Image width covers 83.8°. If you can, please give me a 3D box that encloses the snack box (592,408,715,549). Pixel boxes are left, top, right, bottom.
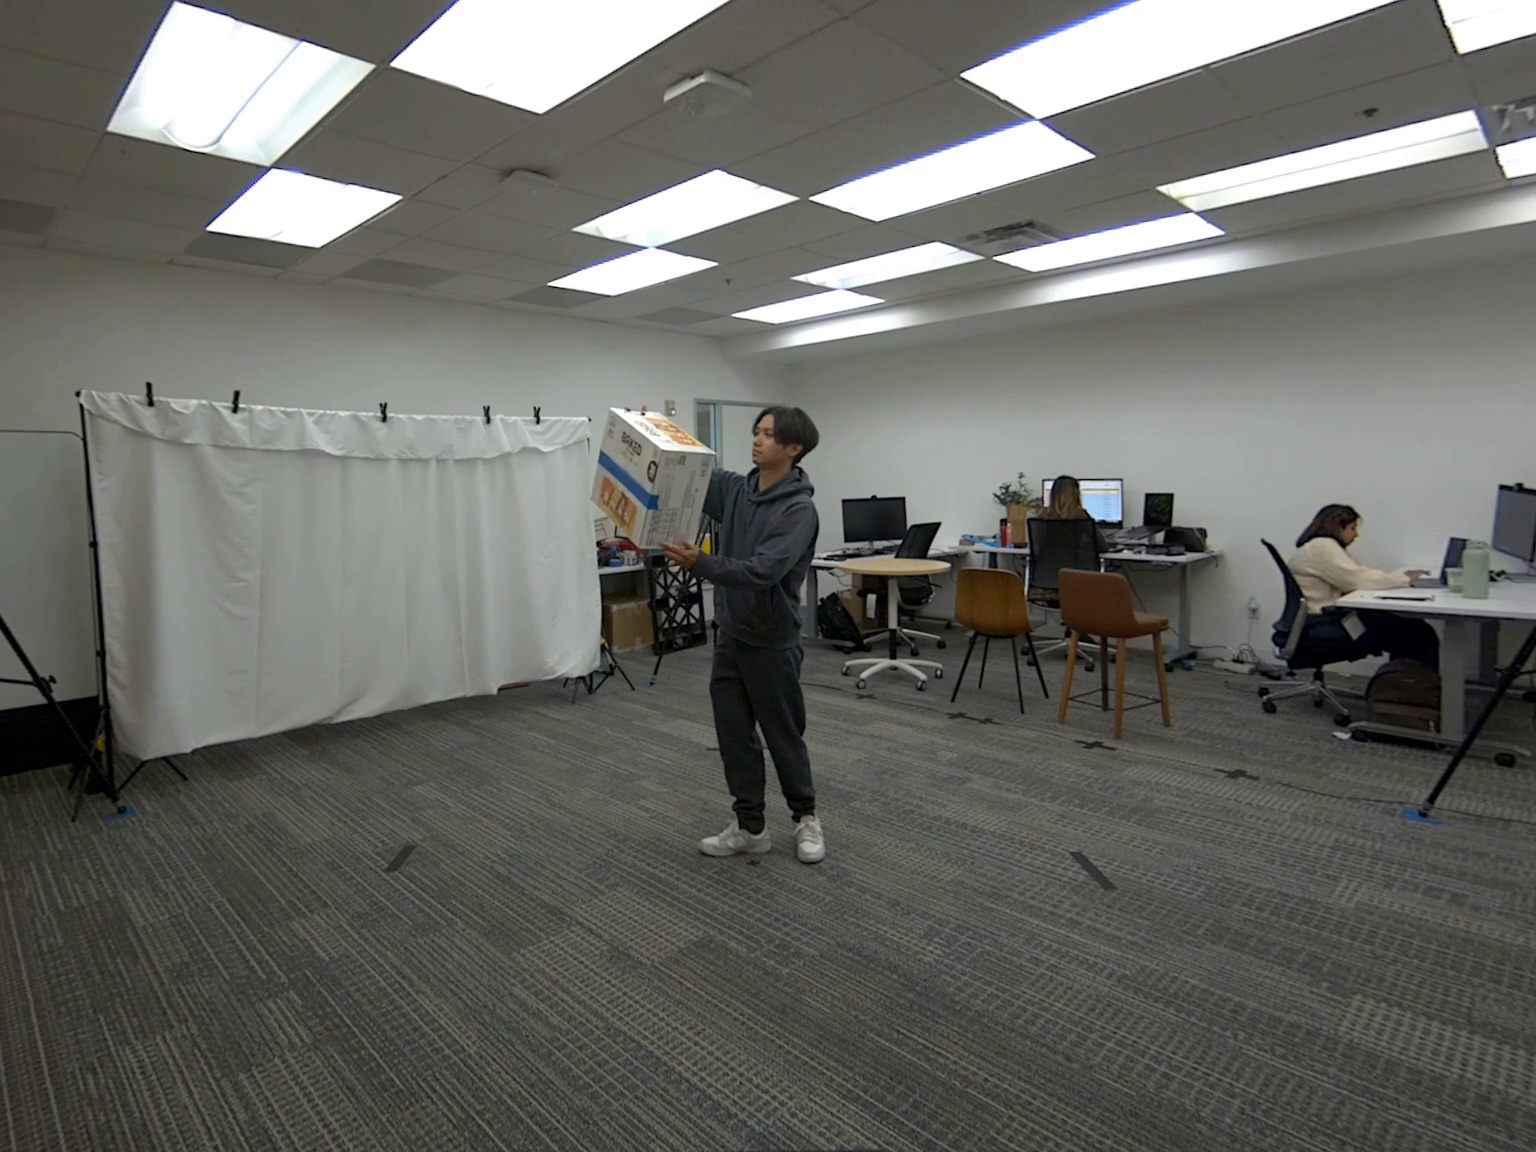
[{"bbox_3d":[-0.386,-0.330,2.870,0.200,0.336,0.421,-2,28,-36],"label":"snack box"}]
